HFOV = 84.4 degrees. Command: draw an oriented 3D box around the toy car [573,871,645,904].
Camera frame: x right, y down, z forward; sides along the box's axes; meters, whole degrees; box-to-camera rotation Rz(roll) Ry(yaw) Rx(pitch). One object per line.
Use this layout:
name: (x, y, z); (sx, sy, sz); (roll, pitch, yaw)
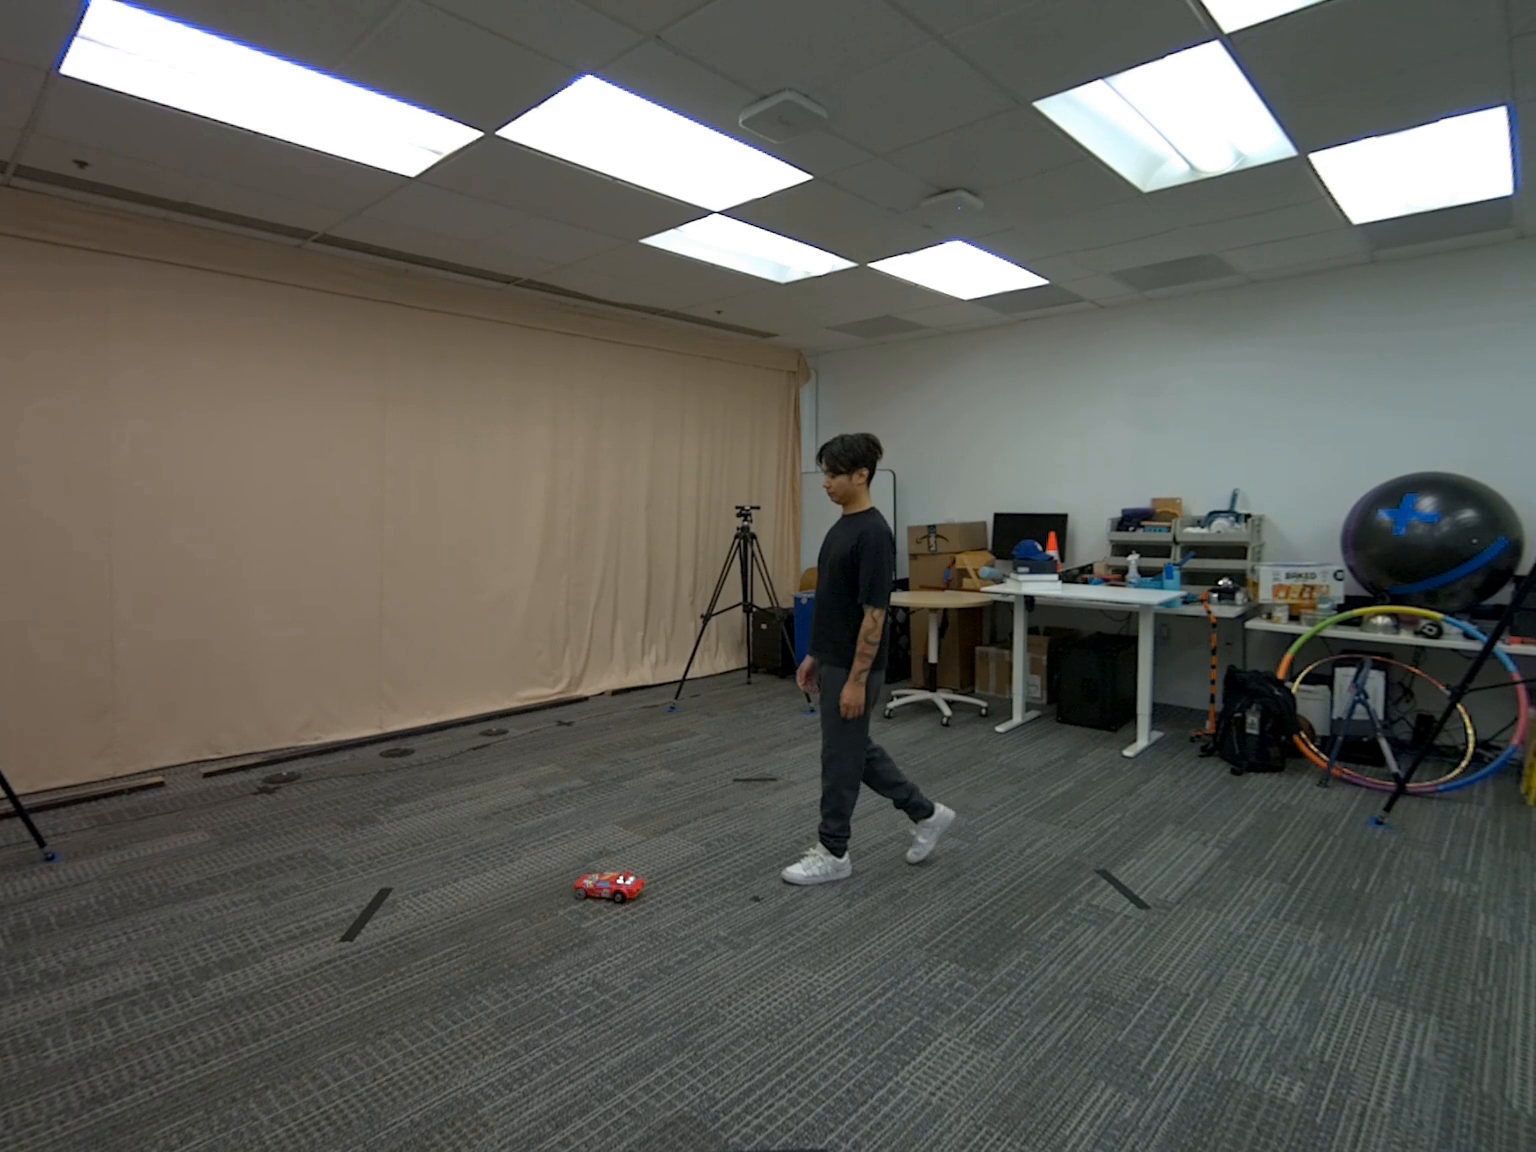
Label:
toy car: (-0.565, 1.116, 3.012); (0.258, 0.083, 0.129); (-10, 3, 14)
